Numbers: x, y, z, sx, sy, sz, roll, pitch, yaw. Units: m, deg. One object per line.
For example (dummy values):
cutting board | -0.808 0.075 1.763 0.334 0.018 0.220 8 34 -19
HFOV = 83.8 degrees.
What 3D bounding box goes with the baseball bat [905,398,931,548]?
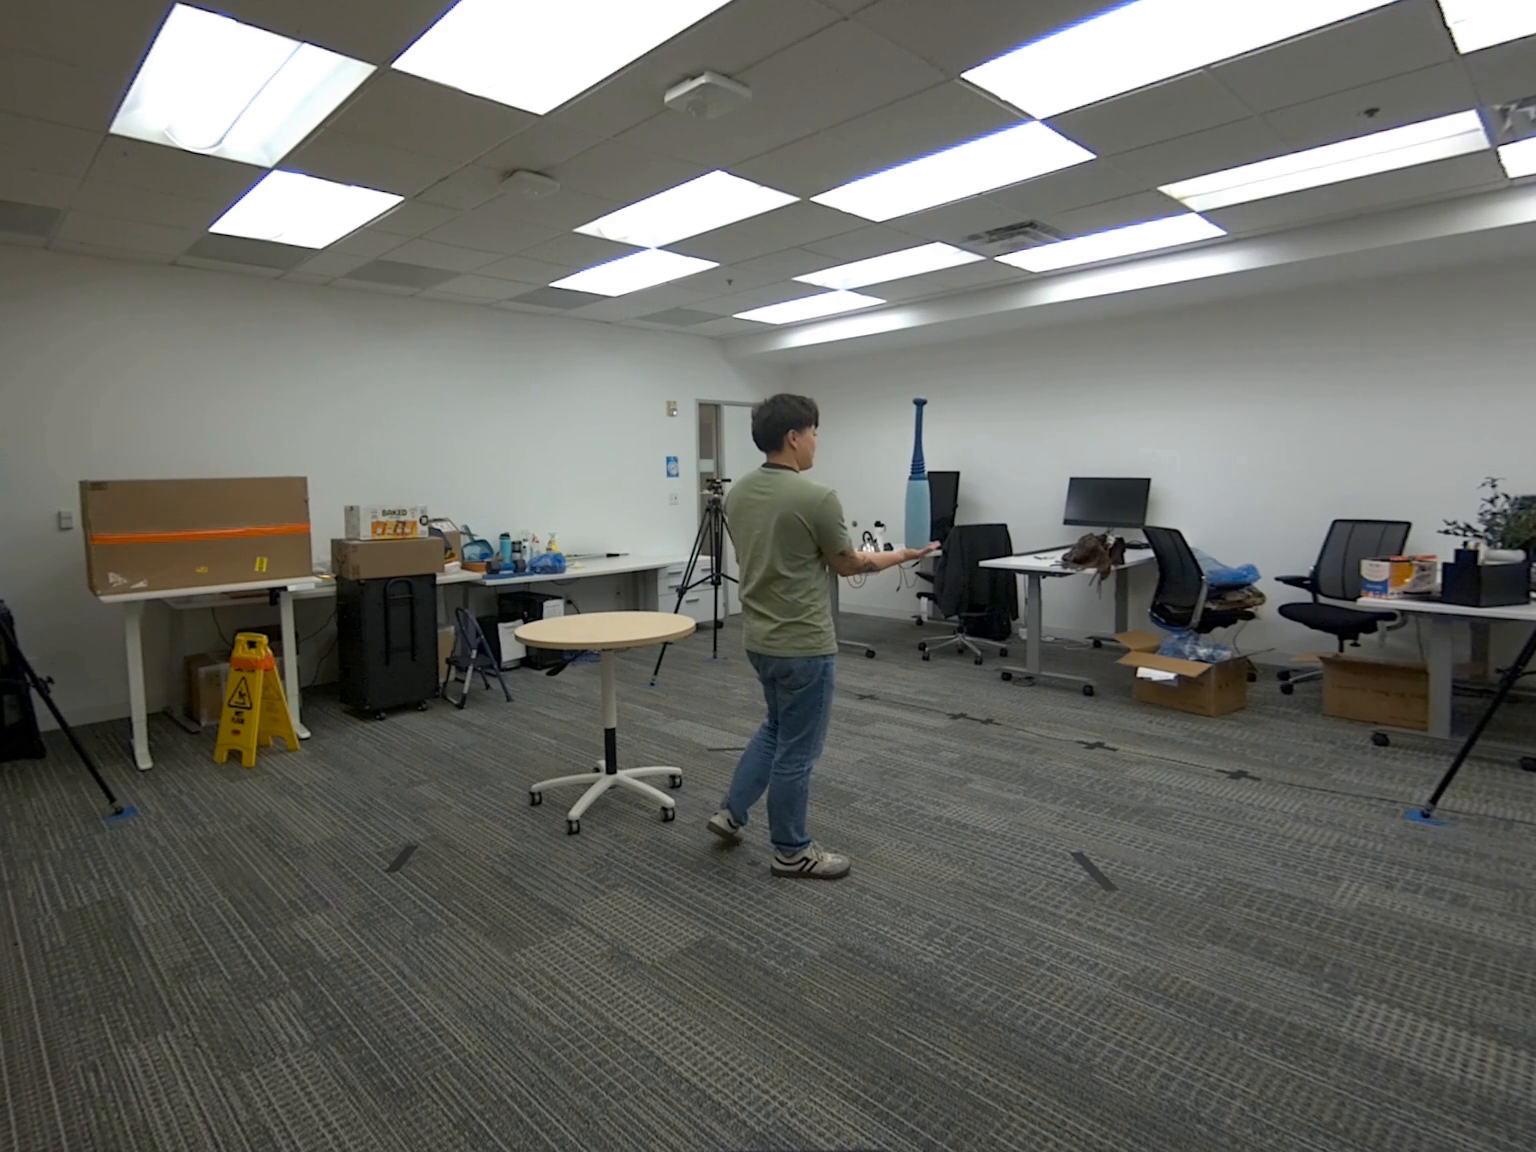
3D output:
baseball bat | 0.537 -0.365 3.047 0.089 0.541 0.089 0 4 -2
